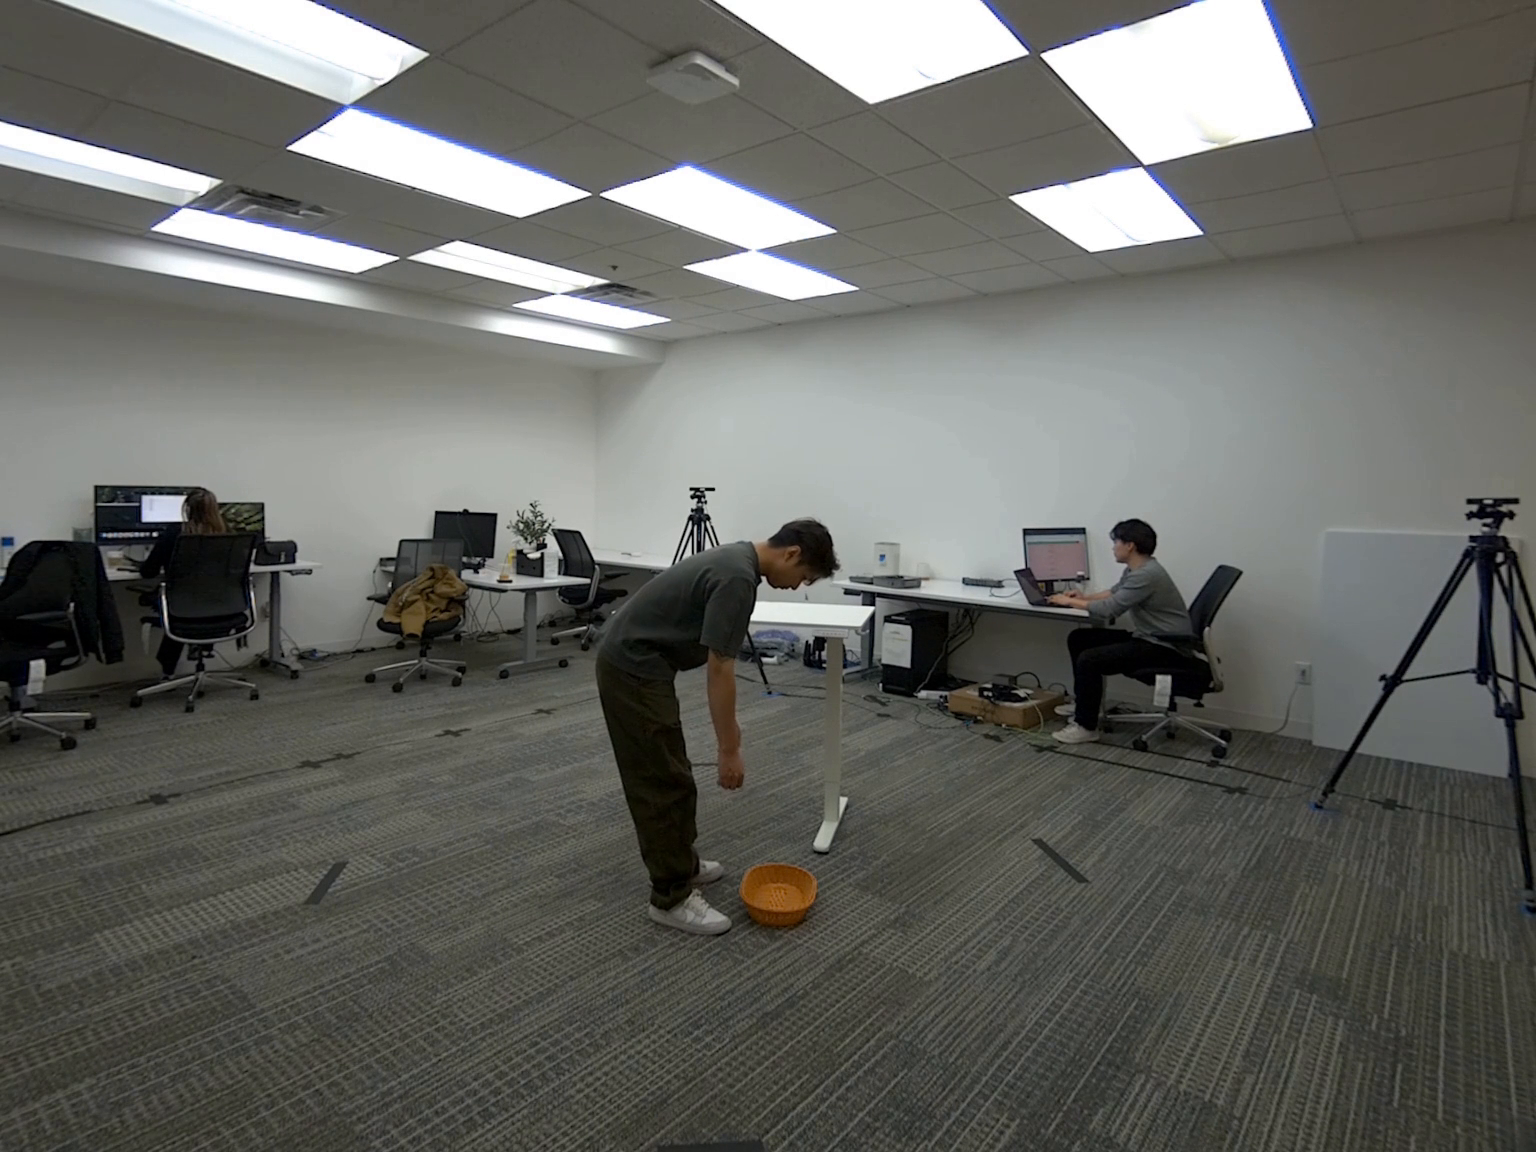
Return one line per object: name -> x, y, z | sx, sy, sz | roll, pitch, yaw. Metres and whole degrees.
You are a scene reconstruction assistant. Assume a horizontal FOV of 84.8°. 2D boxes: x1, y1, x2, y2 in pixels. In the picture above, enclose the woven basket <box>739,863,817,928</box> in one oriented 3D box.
woven basket -> 0.026, 1.064, 2.835 | 0.256, 0.073, 0.347 | 3, 6, 11
